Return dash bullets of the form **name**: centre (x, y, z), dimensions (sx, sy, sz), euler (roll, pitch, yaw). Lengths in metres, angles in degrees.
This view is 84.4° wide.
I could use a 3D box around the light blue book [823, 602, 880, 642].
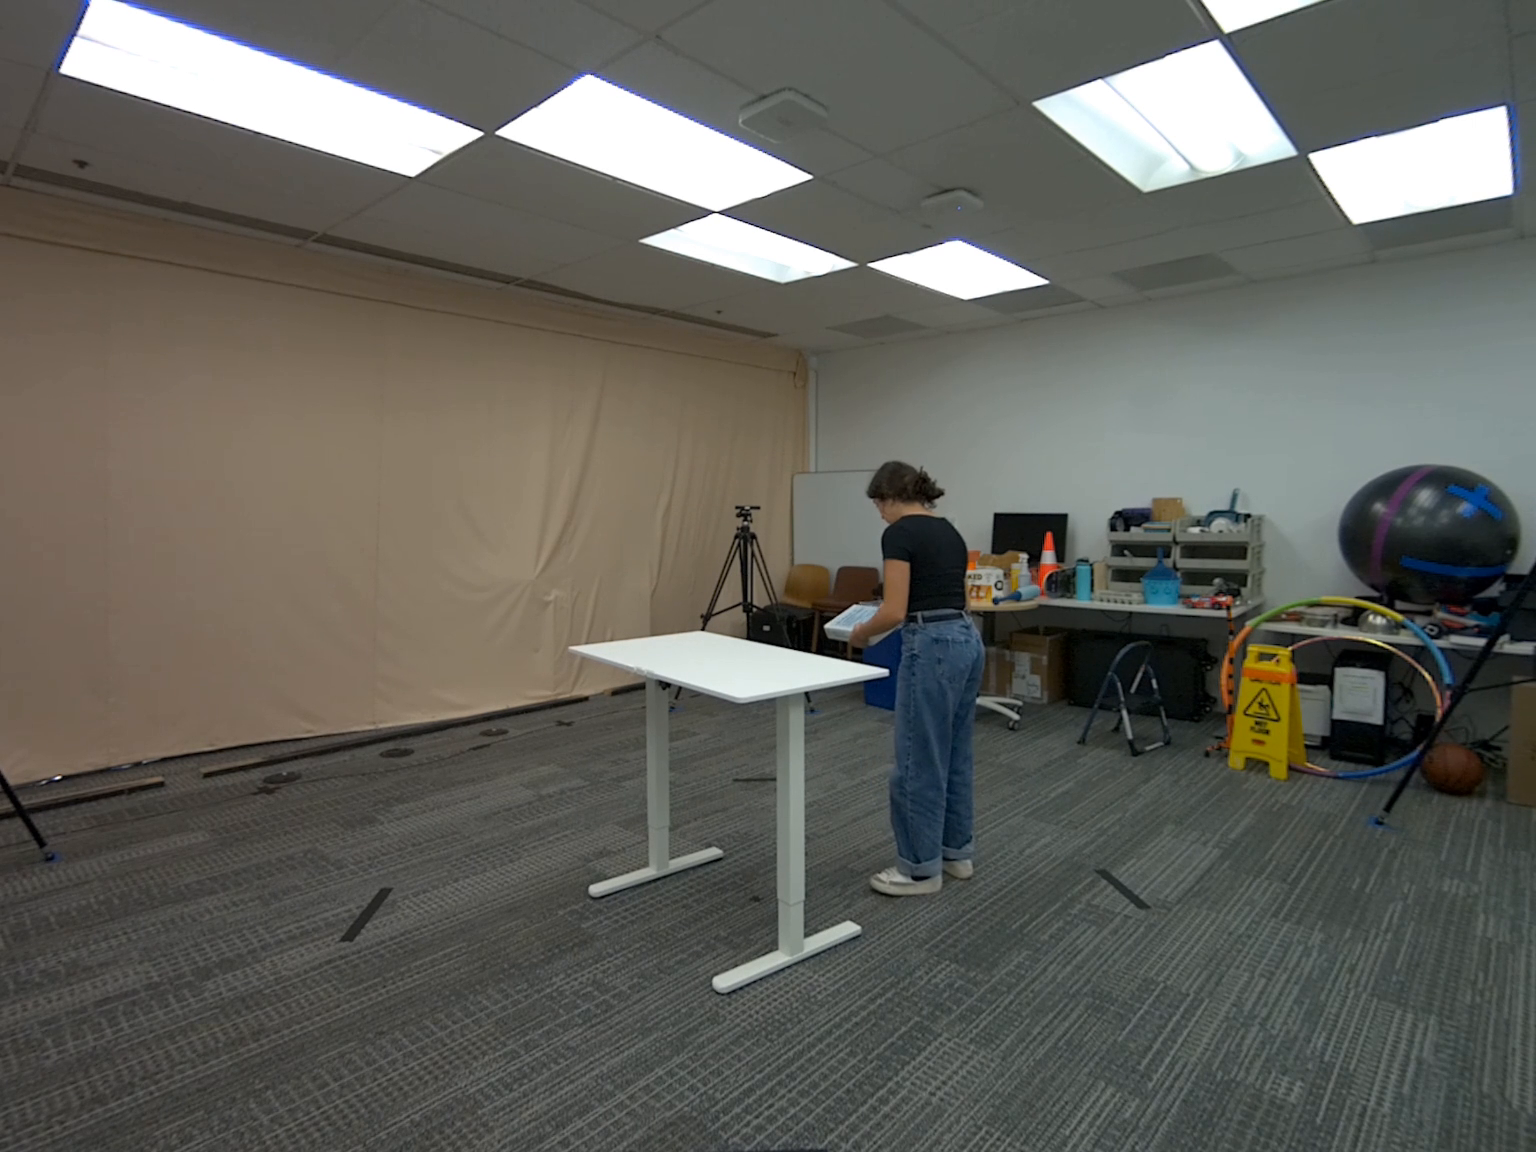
- **light blue book**: centre (0.379, 0.200, 3.355), dimensions (0.188, 0.058, 0.269), euler (-31, 19, -26)
